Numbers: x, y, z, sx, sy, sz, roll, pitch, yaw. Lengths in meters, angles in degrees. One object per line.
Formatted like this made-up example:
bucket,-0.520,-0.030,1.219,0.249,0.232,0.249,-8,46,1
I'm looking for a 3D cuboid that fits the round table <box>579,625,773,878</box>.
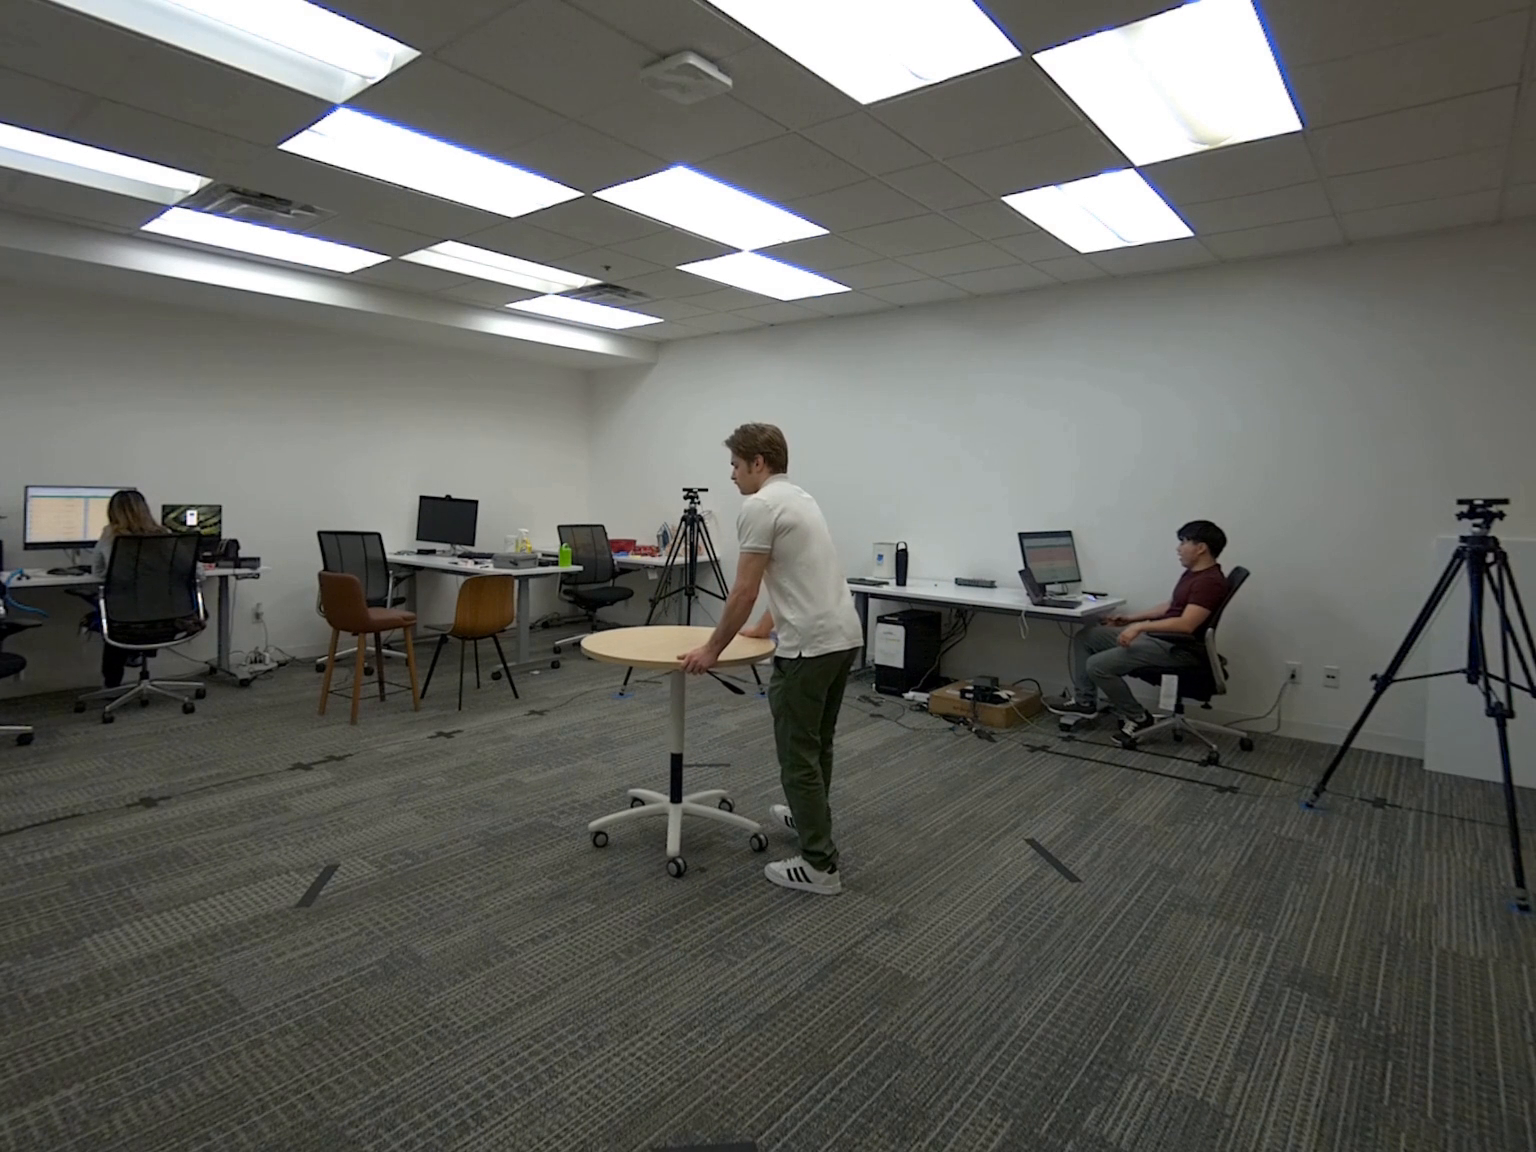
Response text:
round table,-0.375,0.652,3.386,0.763,0.791,0.768,1,4,-2
